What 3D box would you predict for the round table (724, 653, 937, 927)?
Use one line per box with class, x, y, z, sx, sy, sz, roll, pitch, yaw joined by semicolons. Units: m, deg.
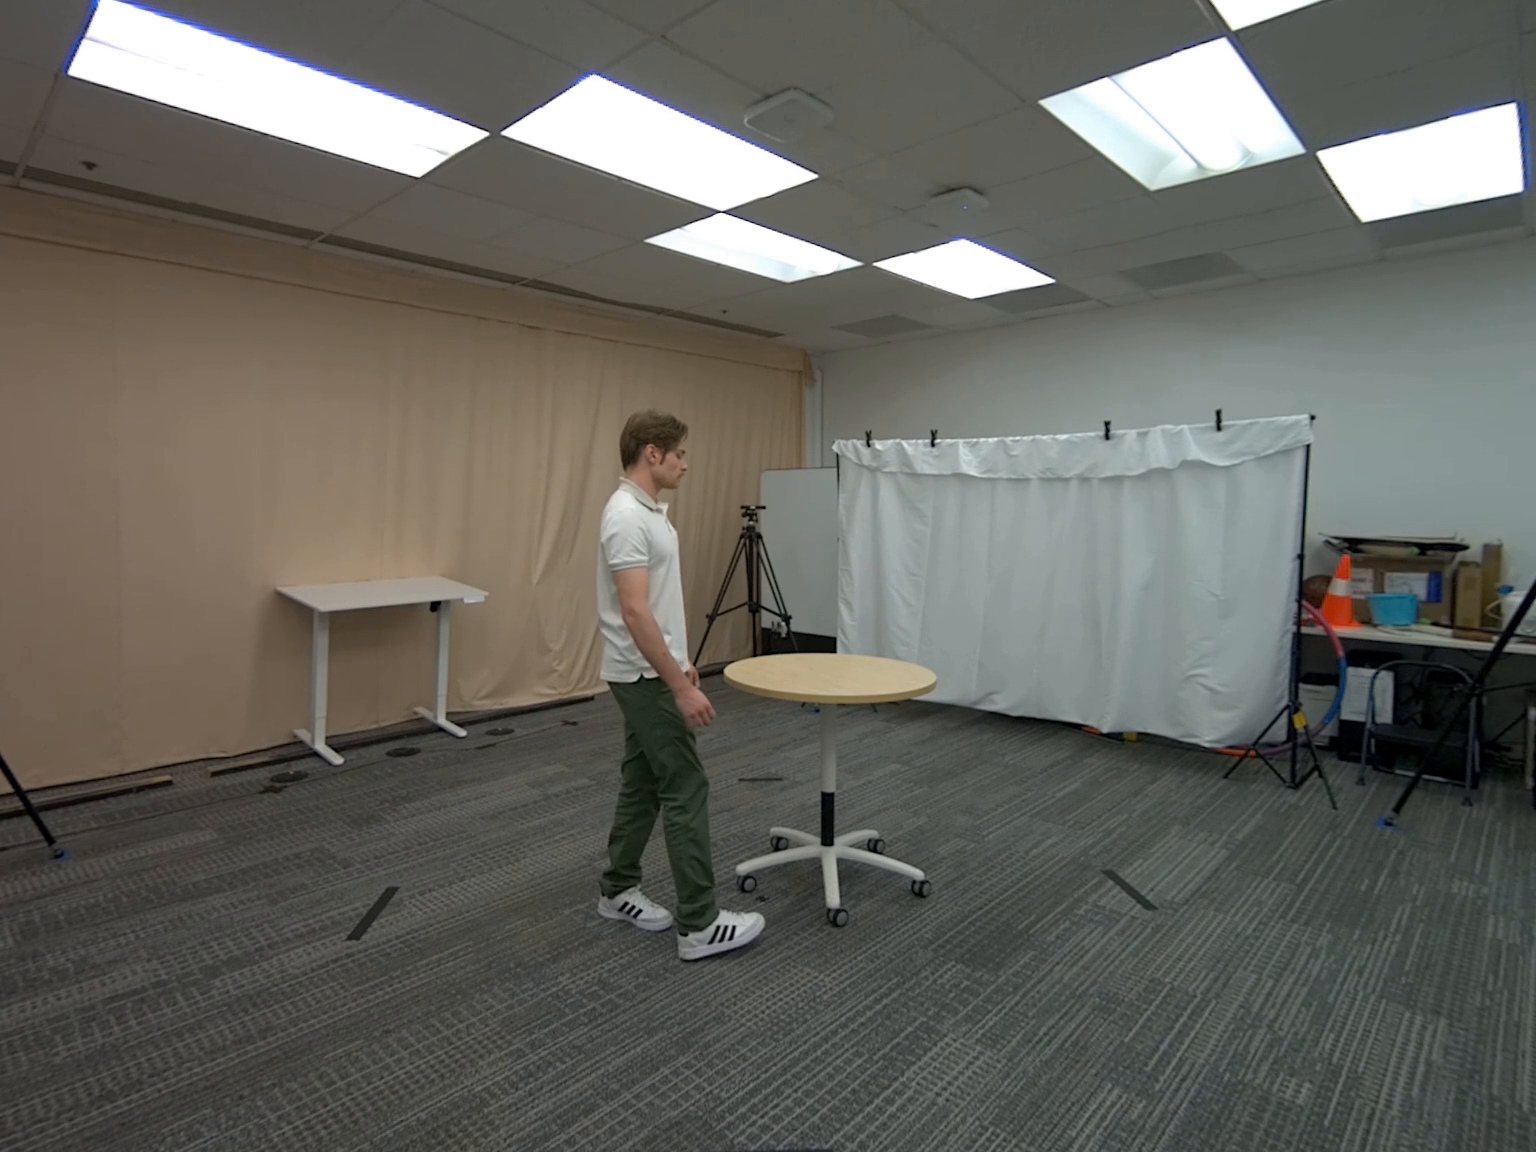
round table;0.224;0.745;3.100;0.763;0.792;0.766;0;3;-2
